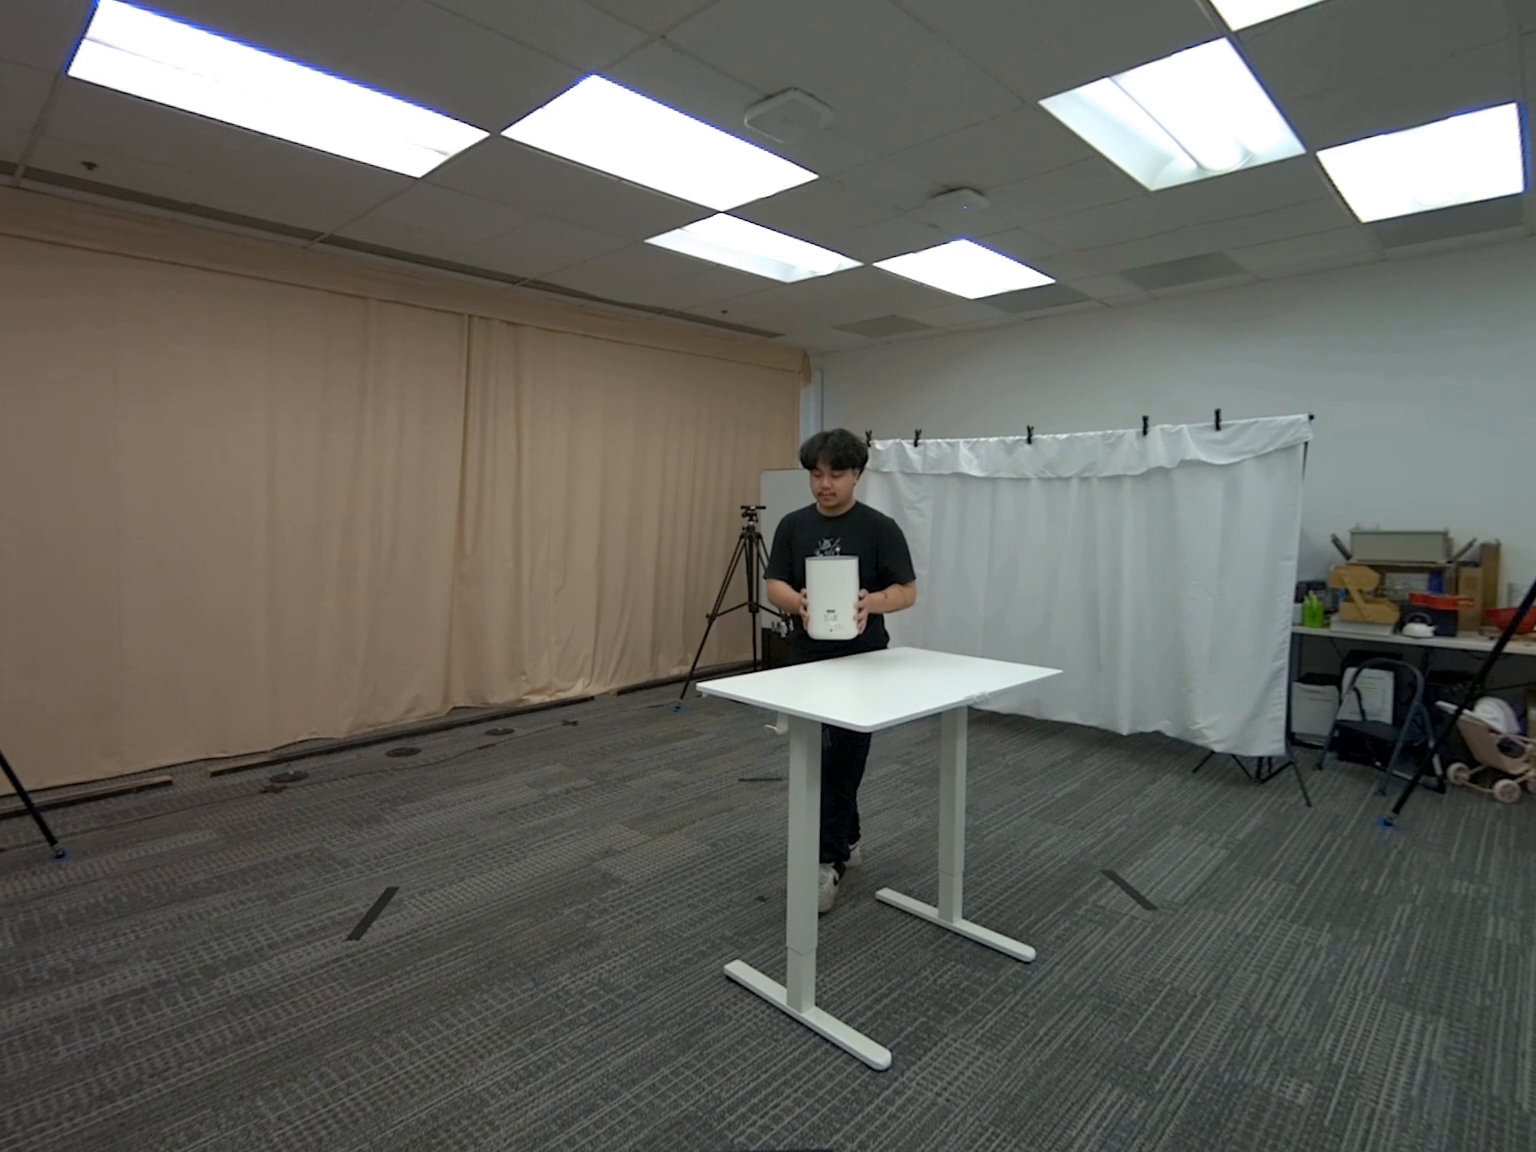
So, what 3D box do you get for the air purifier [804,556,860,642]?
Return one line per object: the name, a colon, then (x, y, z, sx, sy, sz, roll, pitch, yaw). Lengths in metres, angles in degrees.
air purifier: (0.213, 0.068, 2.795, 0.172, 0.265, 0.170, -1, 2, 7)
